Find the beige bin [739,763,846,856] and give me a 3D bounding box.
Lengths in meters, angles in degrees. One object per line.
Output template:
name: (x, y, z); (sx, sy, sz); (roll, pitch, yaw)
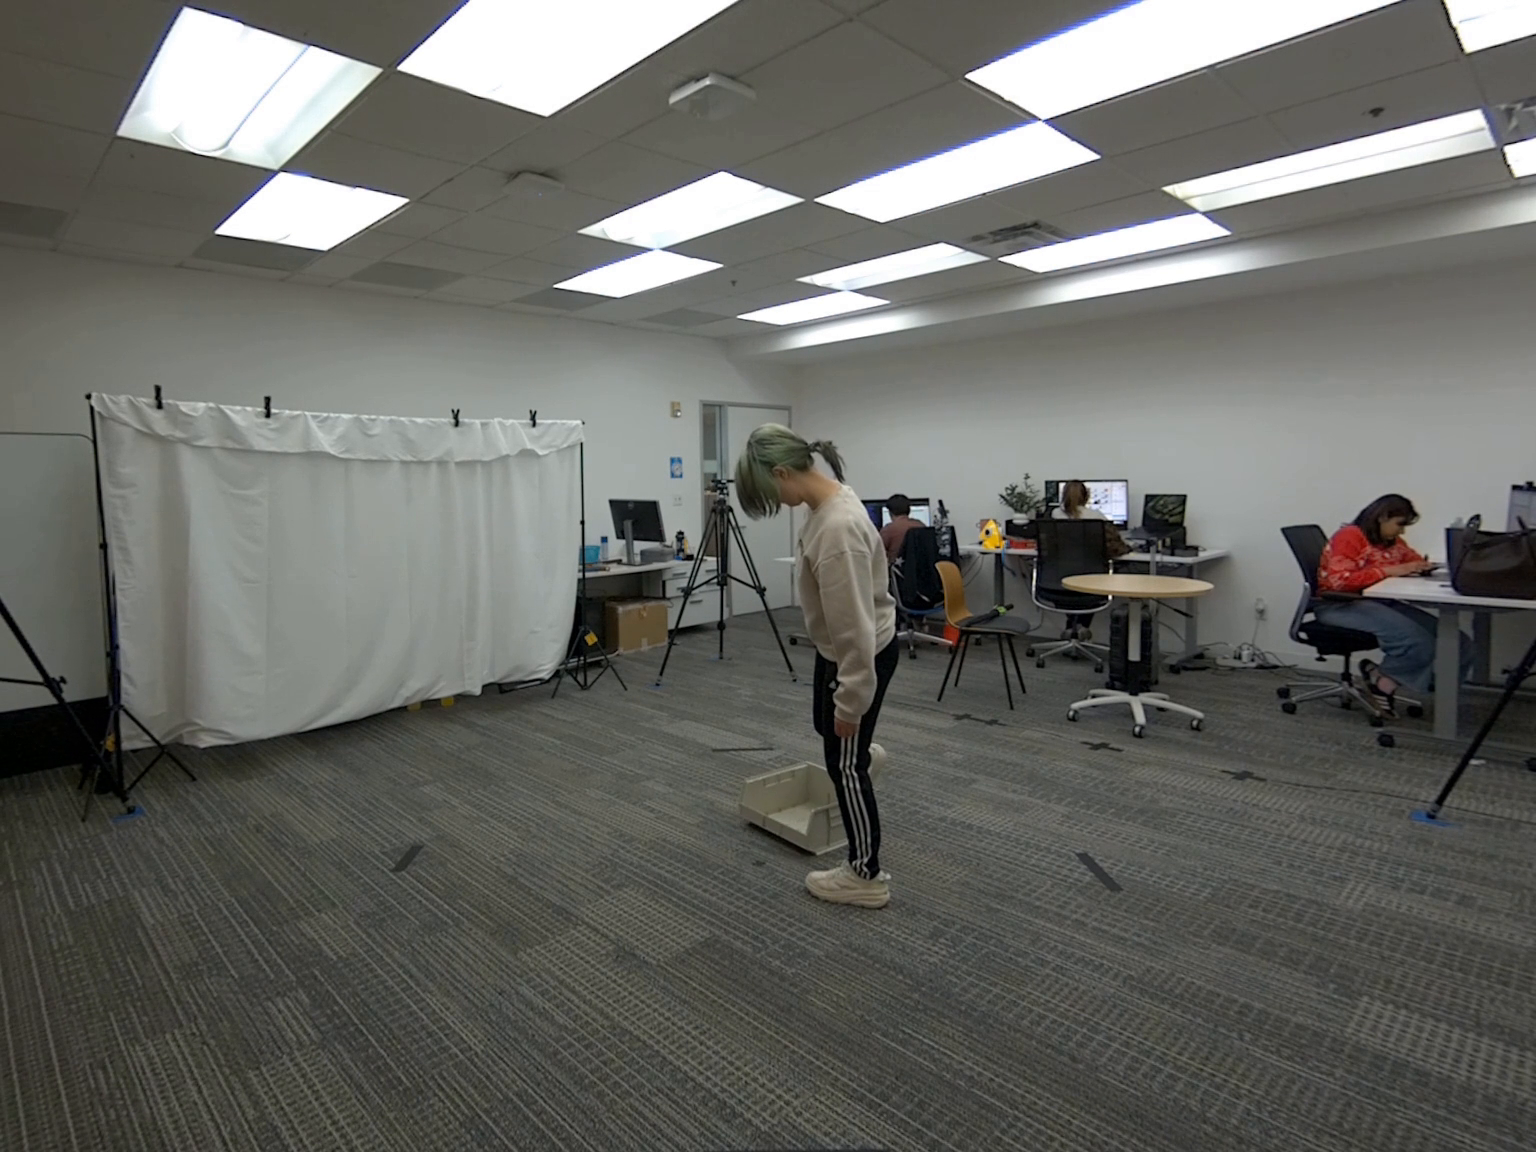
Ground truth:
beige bin: (0.160, 0.920, 3.403); (0.367, 0.188, 0.435); (-4, 6, -38)
